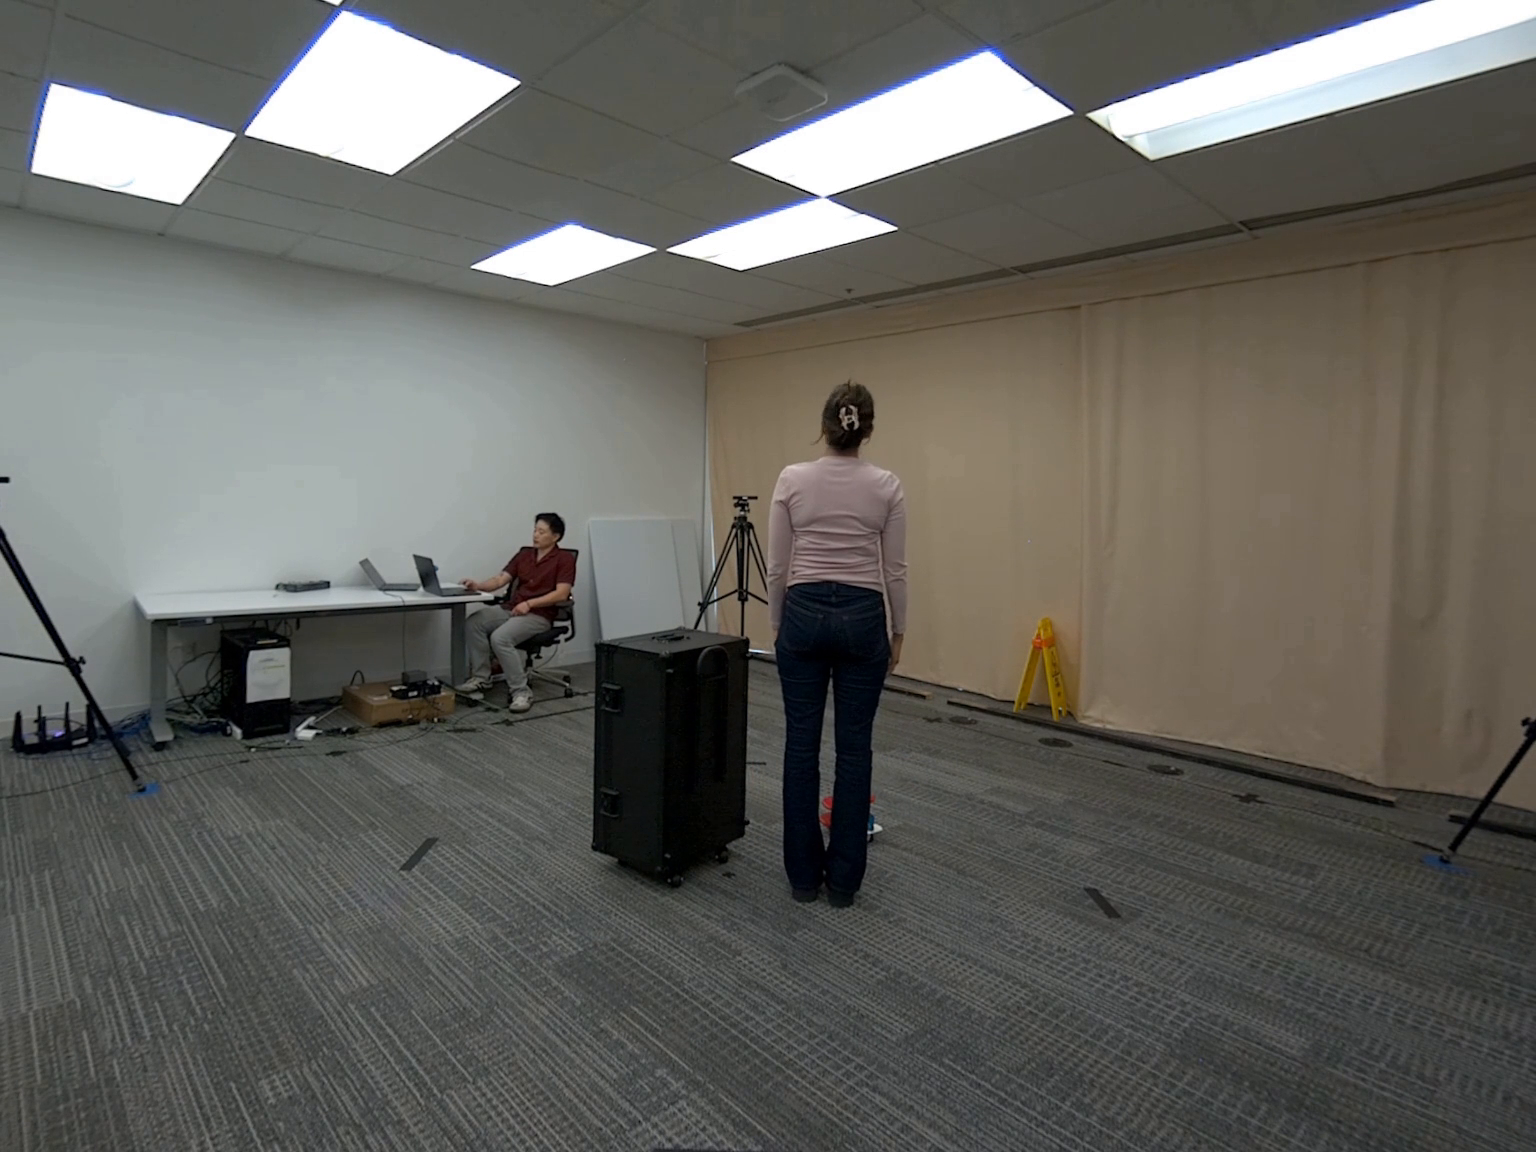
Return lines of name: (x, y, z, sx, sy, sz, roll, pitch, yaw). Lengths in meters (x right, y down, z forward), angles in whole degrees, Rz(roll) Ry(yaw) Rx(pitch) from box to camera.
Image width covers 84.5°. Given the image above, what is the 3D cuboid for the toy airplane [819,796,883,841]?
toy airplane: (0.362, 1.010, 3.519, 0.264, 0.156, 0.246, 0, 4, 28)
